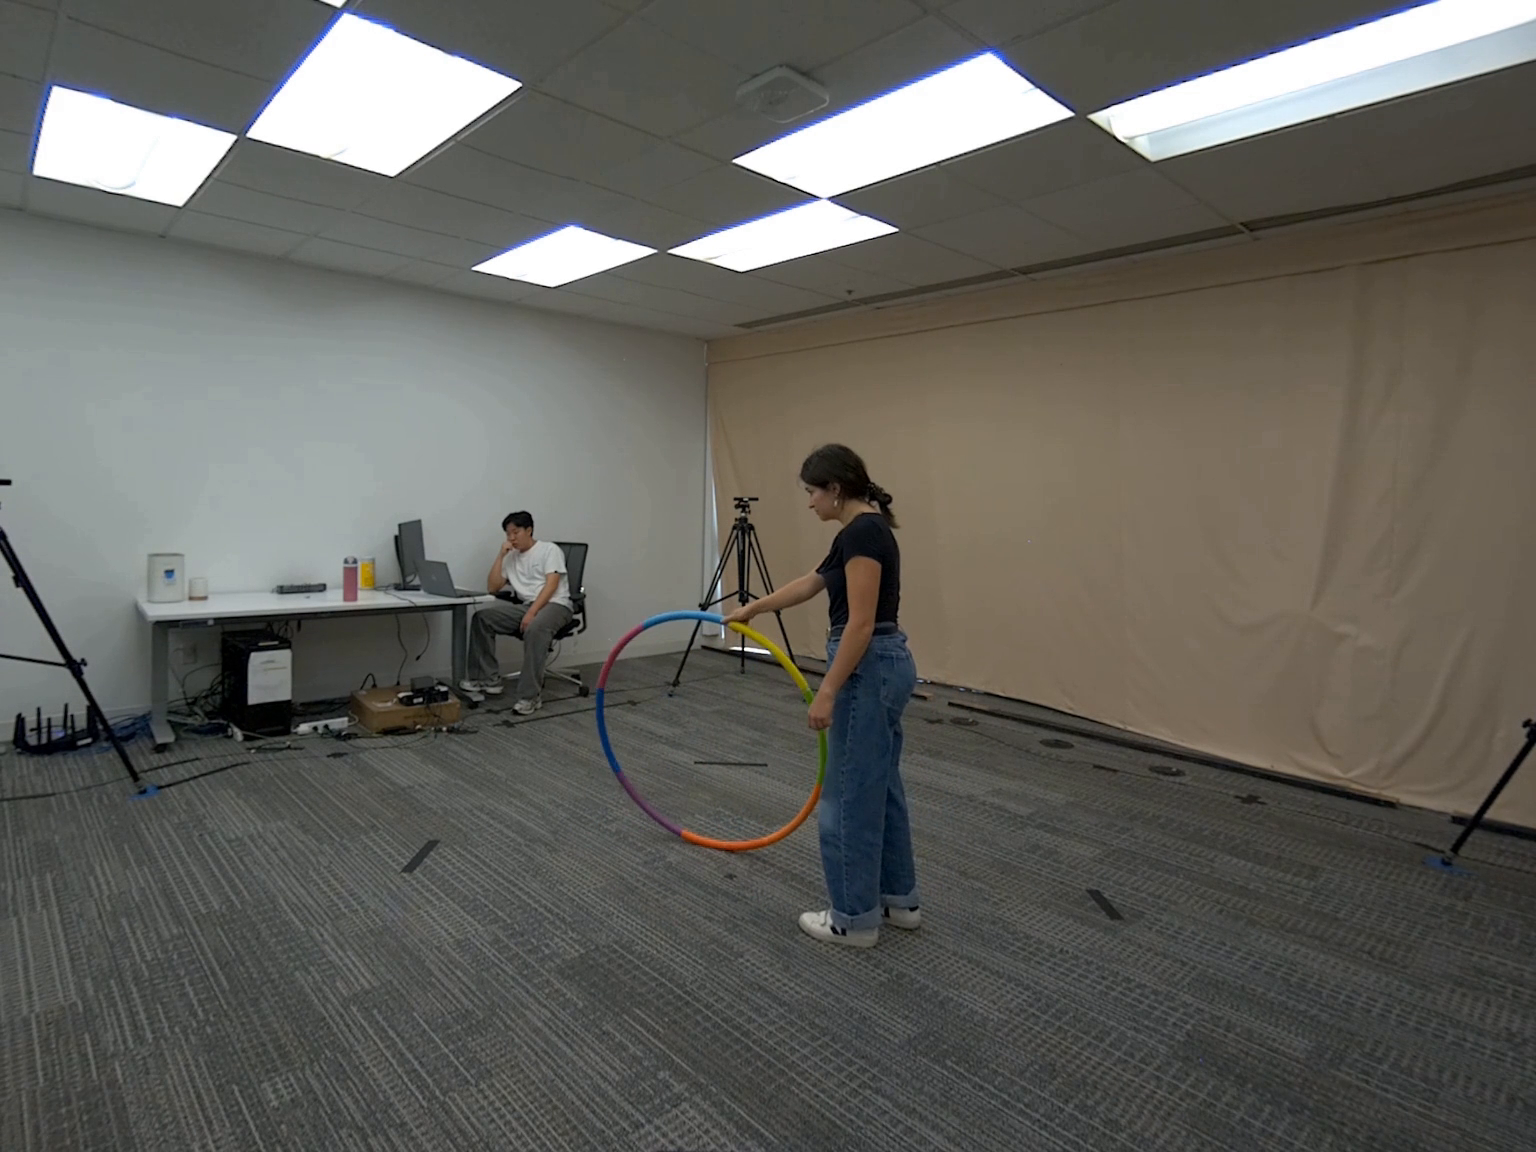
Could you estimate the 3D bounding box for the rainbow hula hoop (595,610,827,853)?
[{"bbox_3d":[-0.246,0.614,3.257,0.997,0.969,0.035,3,14,25],"label":"rainbow hula hoop"}]
